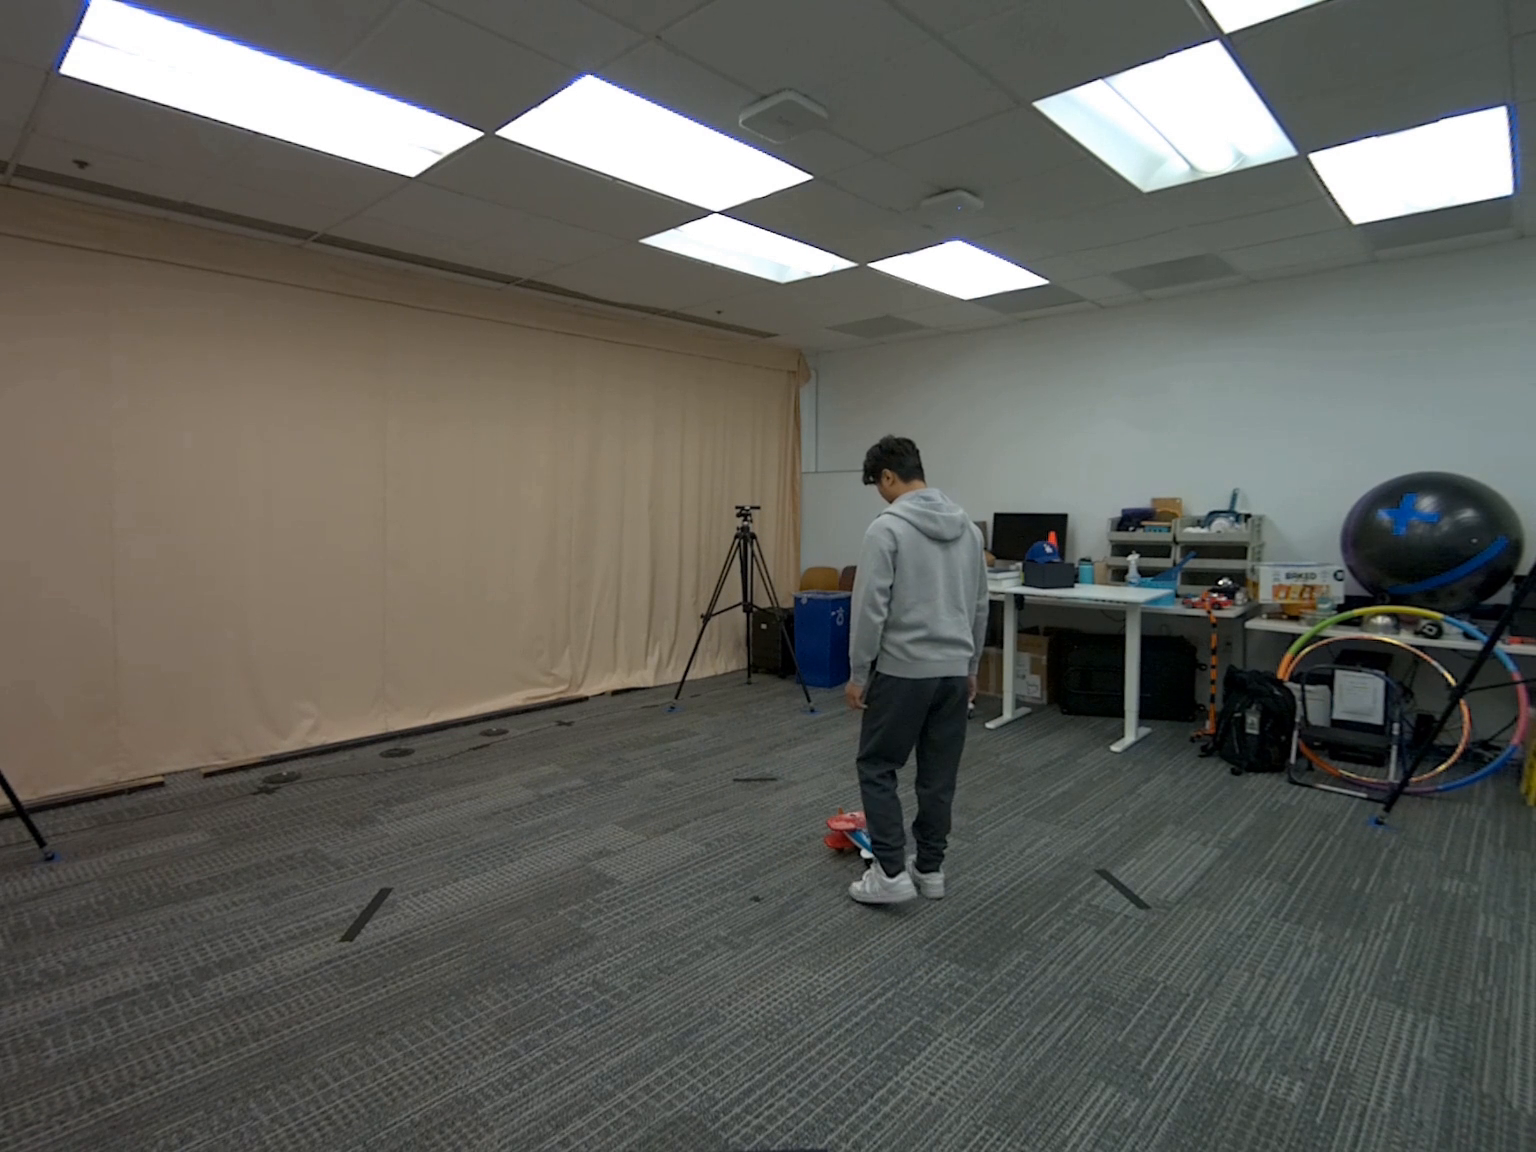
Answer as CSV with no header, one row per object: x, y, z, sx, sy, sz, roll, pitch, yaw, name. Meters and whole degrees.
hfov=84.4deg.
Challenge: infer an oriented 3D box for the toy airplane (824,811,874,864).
0.379,1.038,3.342,0.267,0.156,0.243,3,4,38,toy airplane
